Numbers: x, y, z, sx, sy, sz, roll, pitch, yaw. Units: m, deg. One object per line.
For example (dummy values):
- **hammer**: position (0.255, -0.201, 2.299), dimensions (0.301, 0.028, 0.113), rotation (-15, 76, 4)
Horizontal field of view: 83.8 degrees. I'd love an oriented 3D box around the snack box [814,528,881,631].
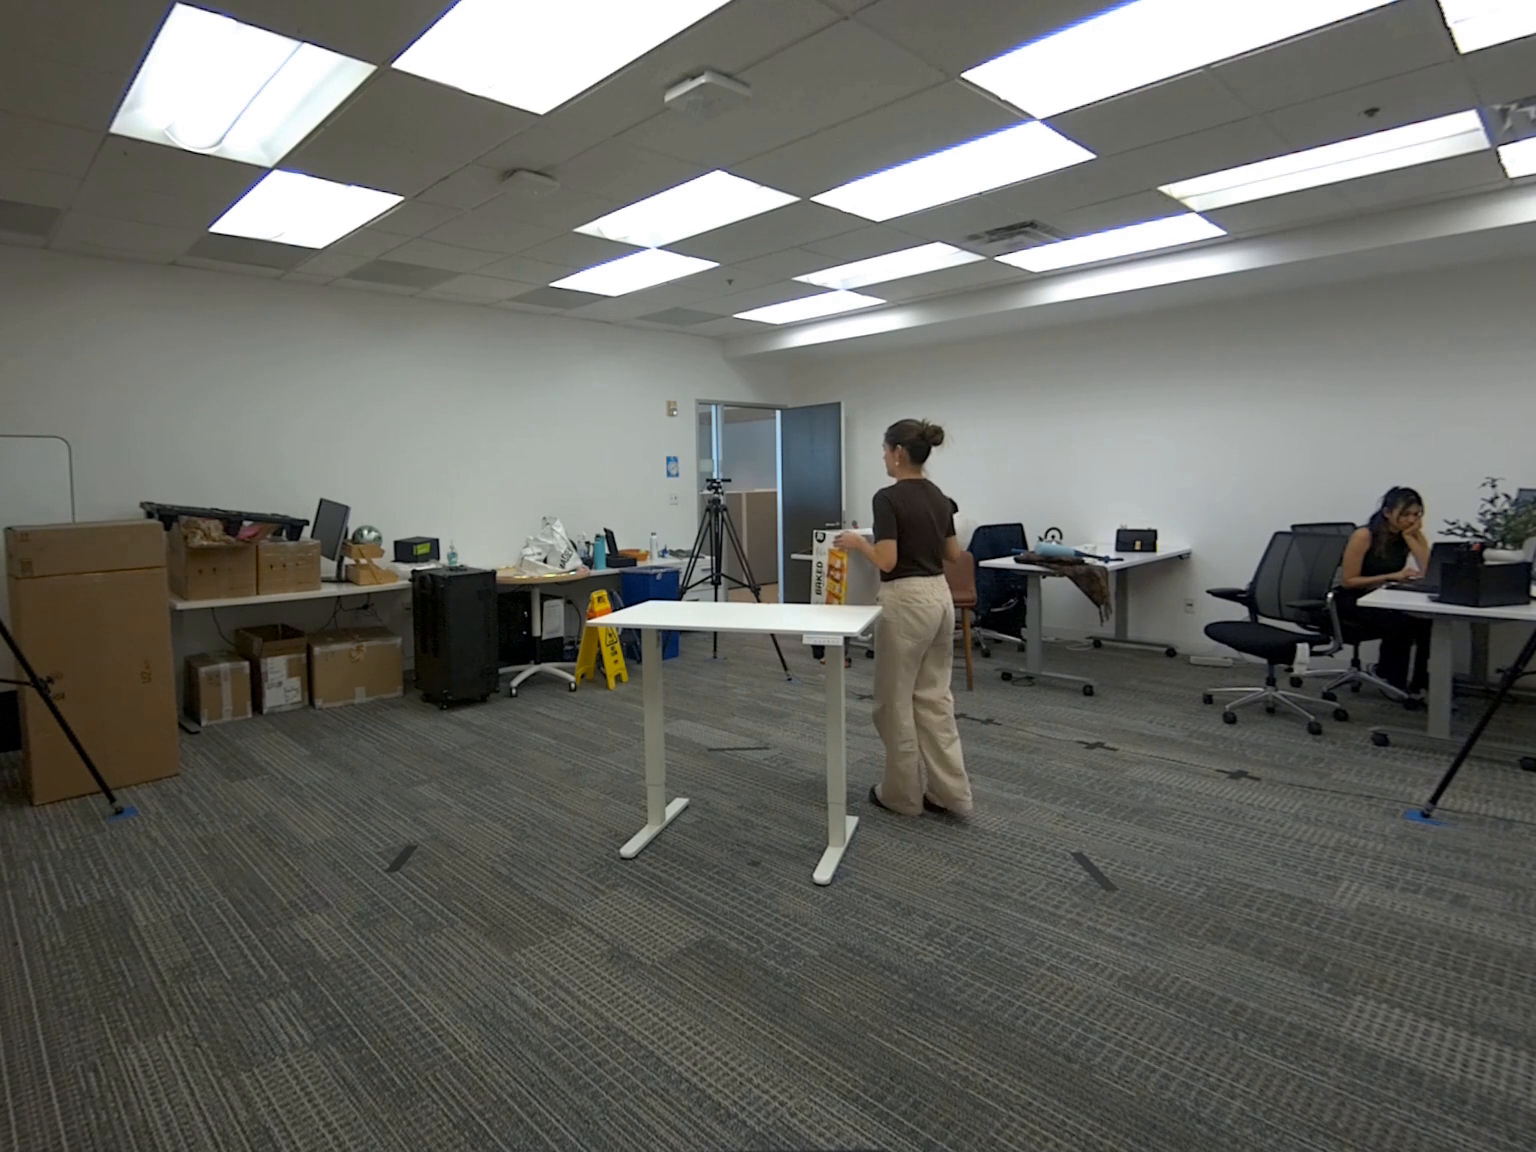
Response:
- **snack box**: position (0.402, 0.004, 3.790), dimensions (0.331, 0.403, 0.212), rotation (-3, 7, -40)
